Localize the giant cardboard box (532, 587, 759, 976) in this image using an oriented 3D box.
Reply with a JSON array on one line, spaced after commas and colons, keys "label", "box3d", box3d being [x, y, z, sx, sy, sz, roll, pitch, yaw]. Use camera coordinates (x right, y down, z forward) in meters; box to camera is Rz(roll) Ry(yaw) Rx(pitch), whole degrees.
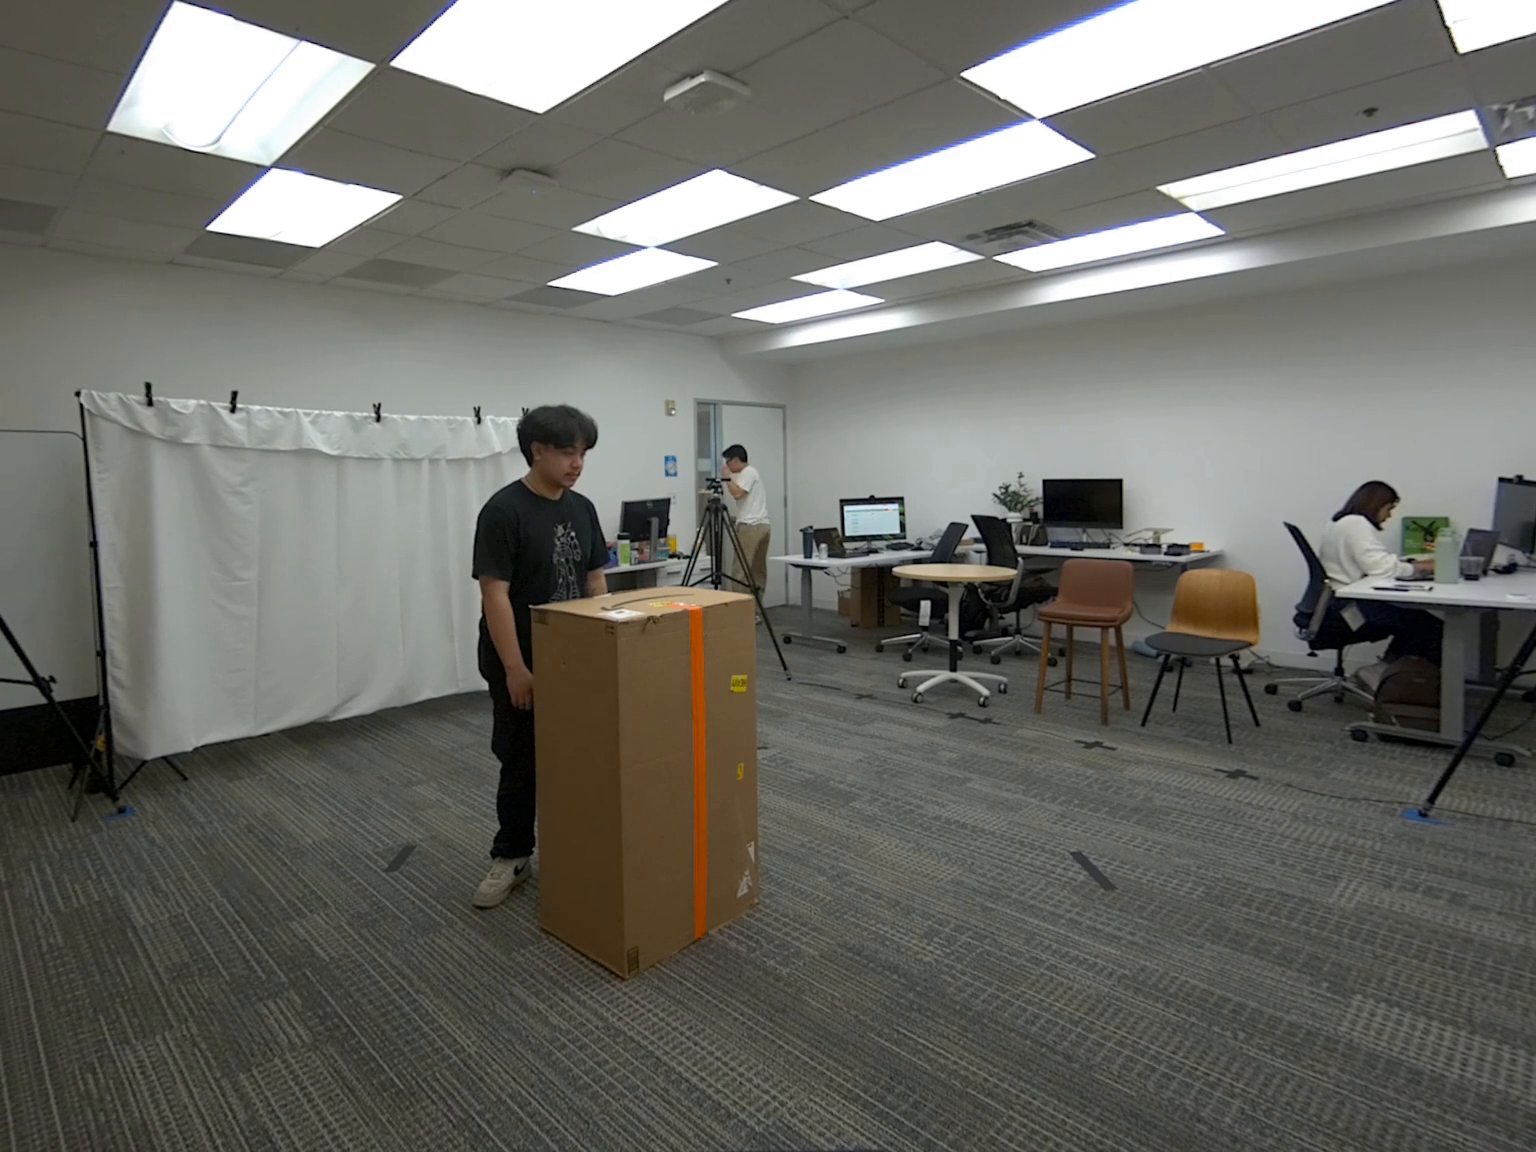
[{"label": "giant cardboard box", "box3d": [-0.374, 0.585, 2.706, 0.461, 1.023, 0.568, 4, 7, 43]}]
